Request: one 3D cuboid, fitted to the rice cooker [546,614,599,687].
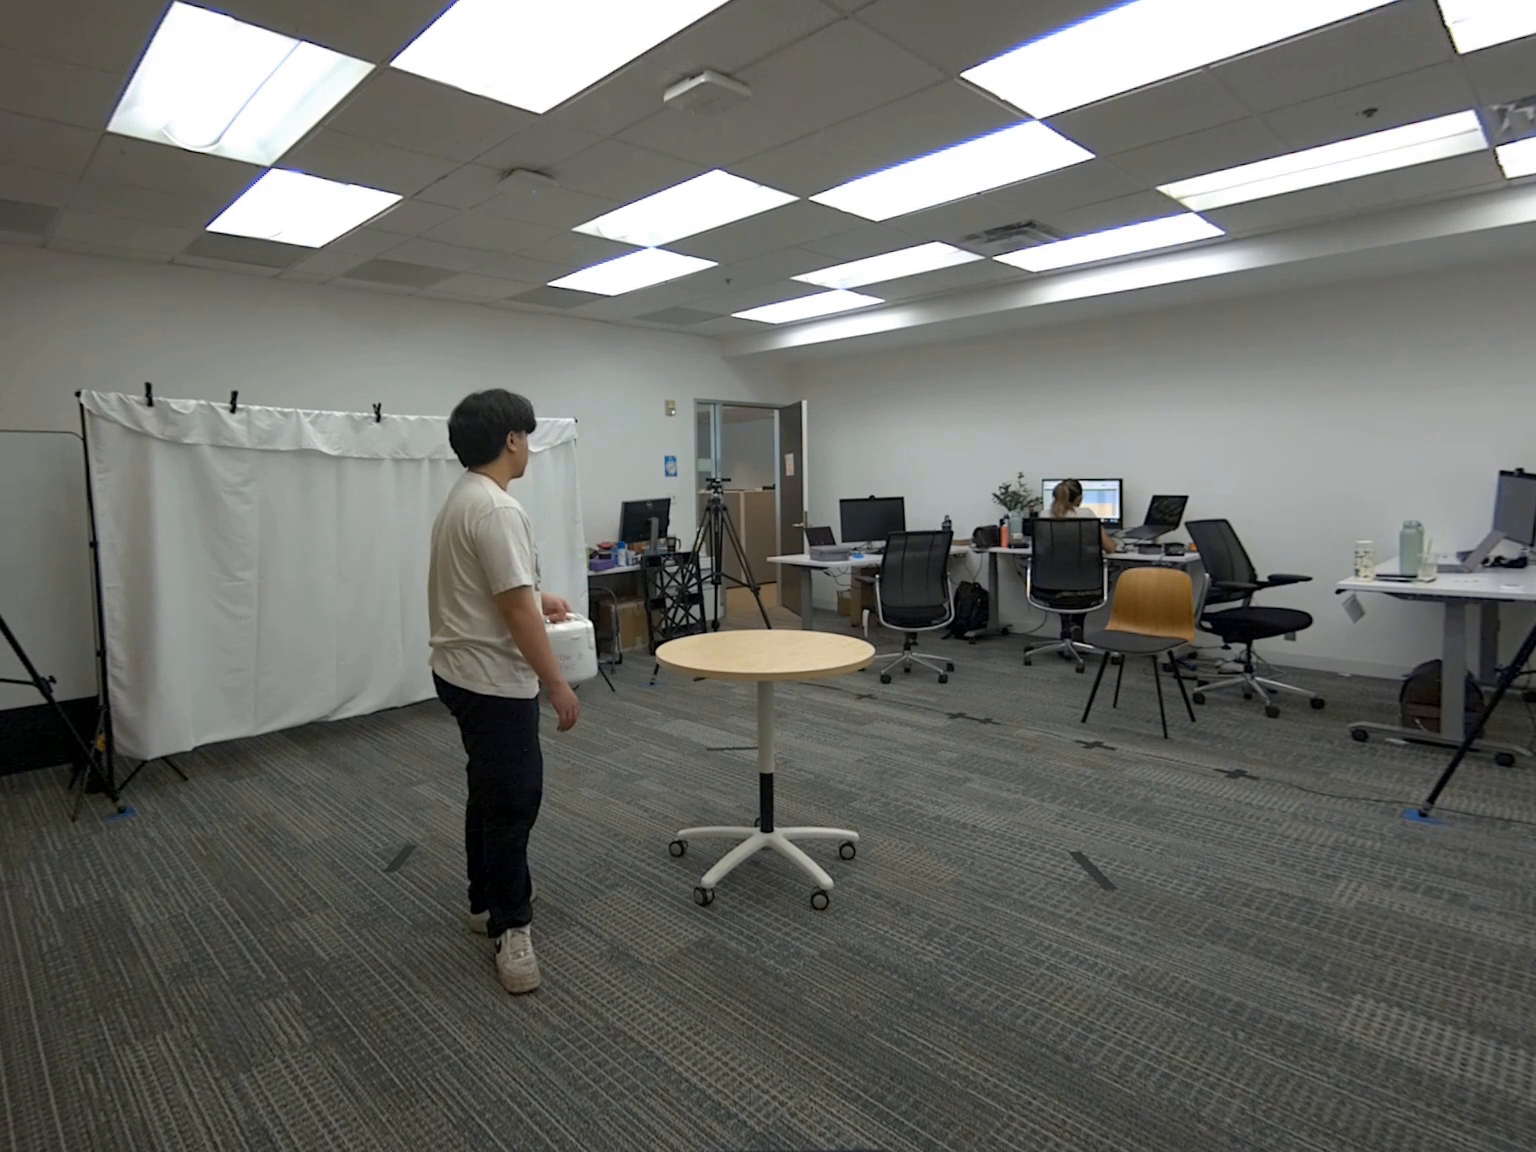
[{"bbox_3d":[-0.669,0.234,2.803,0.224,0.232,0.215,-3,5,15],"label":"rice cooker"}]
